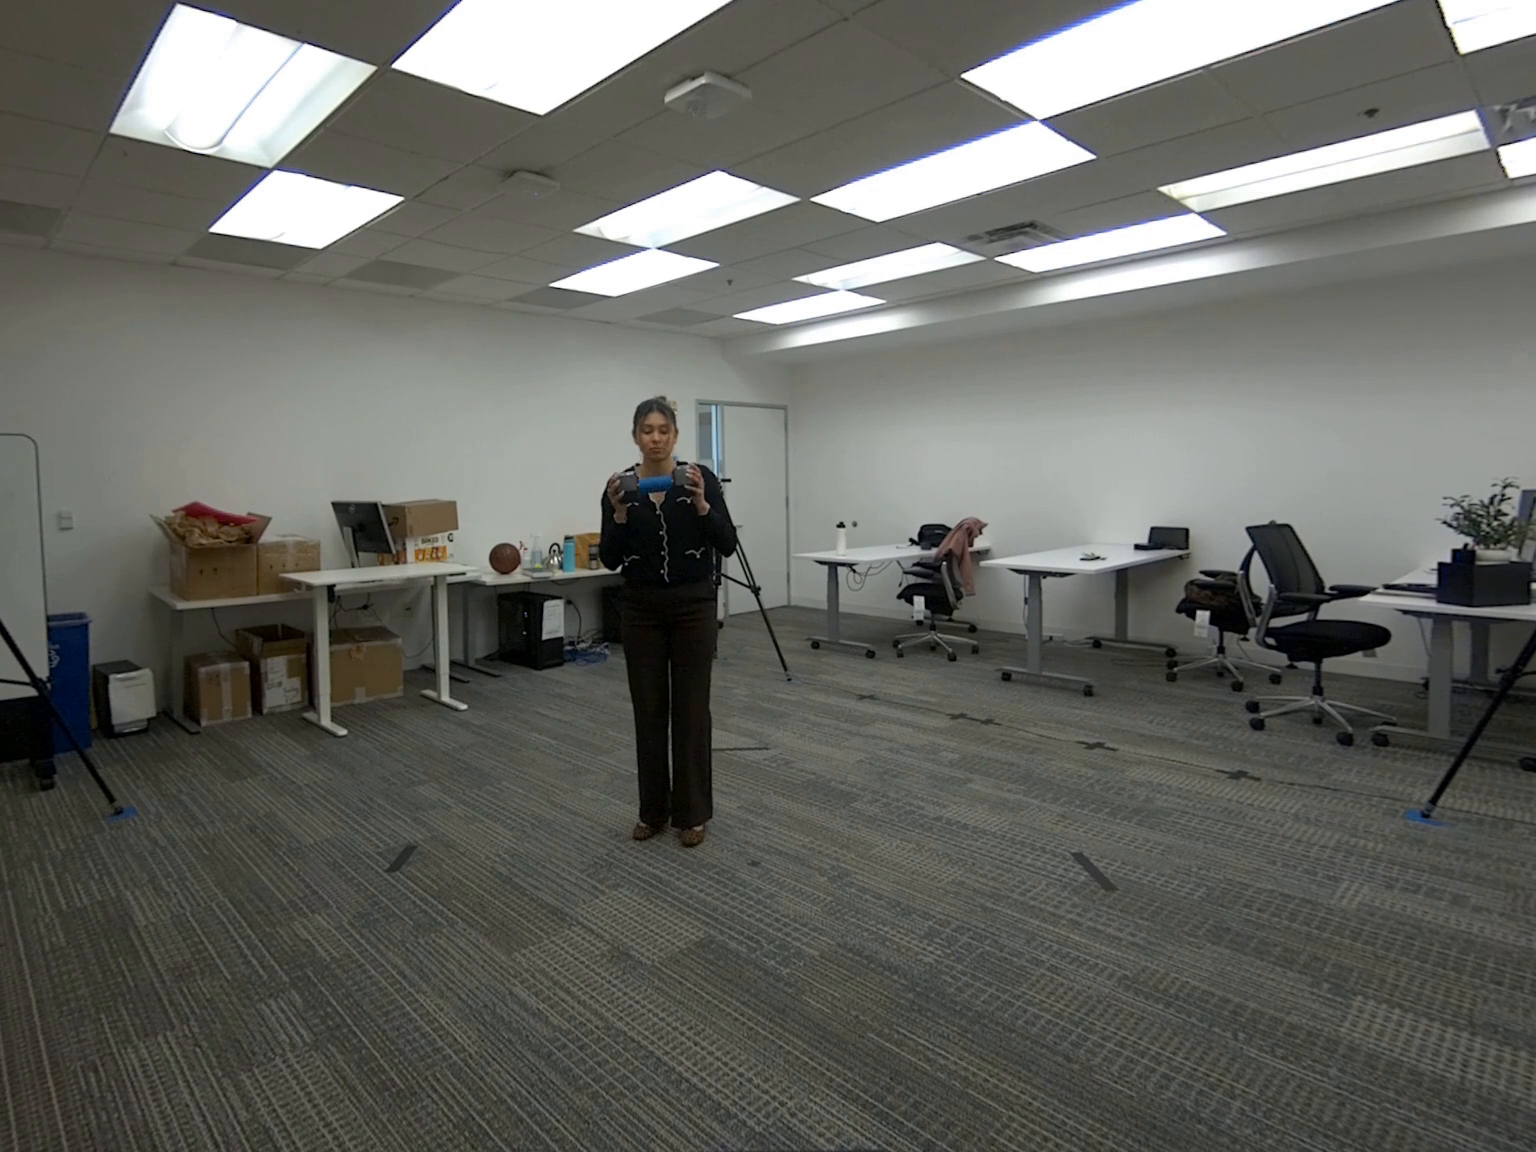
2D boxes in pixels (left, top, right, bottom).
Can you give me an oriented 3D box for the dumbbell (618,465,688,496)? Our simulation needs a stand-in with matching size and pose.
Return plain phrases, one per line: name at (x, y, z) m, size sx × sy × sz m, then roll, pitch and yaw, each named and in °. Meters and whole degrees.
dumbbell at (-0.415, -0.318, 3.146) m, size 0.293 × 0.106 × 0.126 m, roll -11°, pitch 20°, yaw -4°
